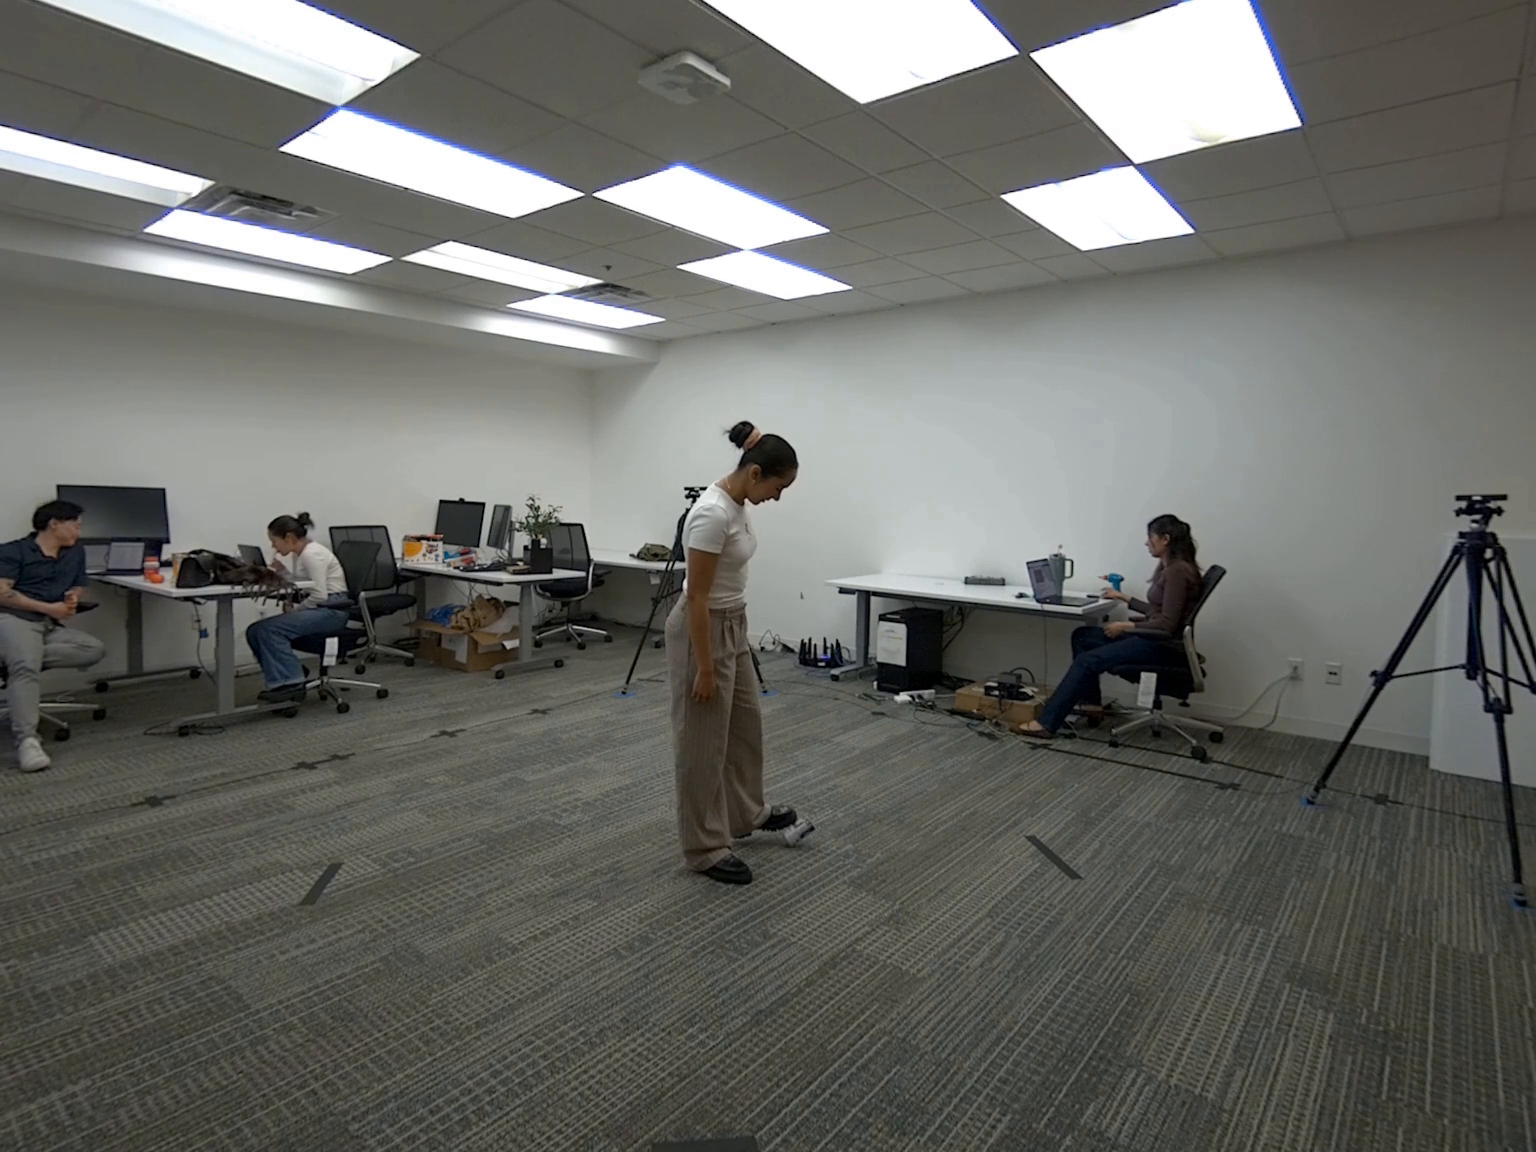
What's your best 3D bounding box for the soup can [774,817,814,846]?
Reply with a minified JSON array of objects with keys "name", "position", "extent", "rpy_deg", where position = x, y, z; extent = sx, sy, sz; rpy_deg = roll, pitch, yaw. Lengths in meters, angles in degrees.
[{"name":"soup can","position":[0.112,0.992,3.324],"extent":[0.121,0.066,0.068],"rpy_deg":[-29,8,-5]}]
